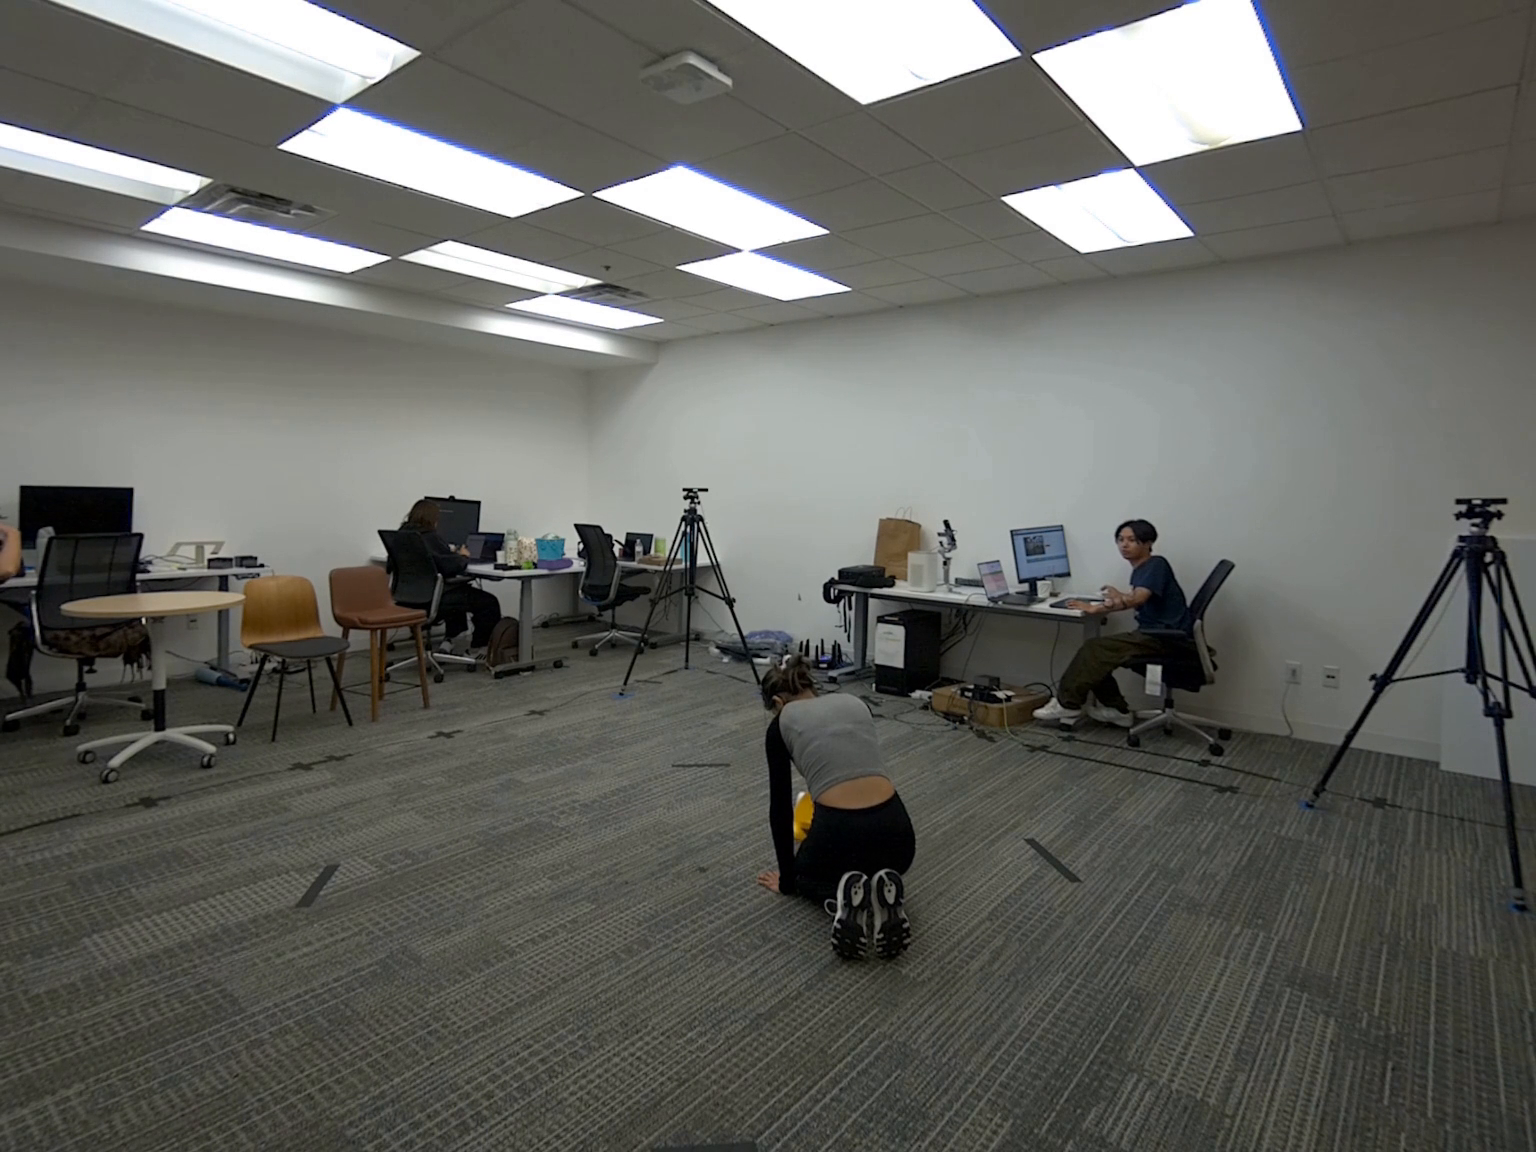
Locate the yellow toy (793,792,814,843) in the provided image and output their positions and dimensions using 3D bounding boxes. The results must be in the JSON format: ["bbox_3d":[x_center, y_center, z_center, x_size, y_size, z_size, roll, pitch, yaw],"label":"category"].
[{"bbox_3d":[0.181,0.928,3.448,0.206,0.230,0.192,0,5,6],"label":"yellow toy"}]
